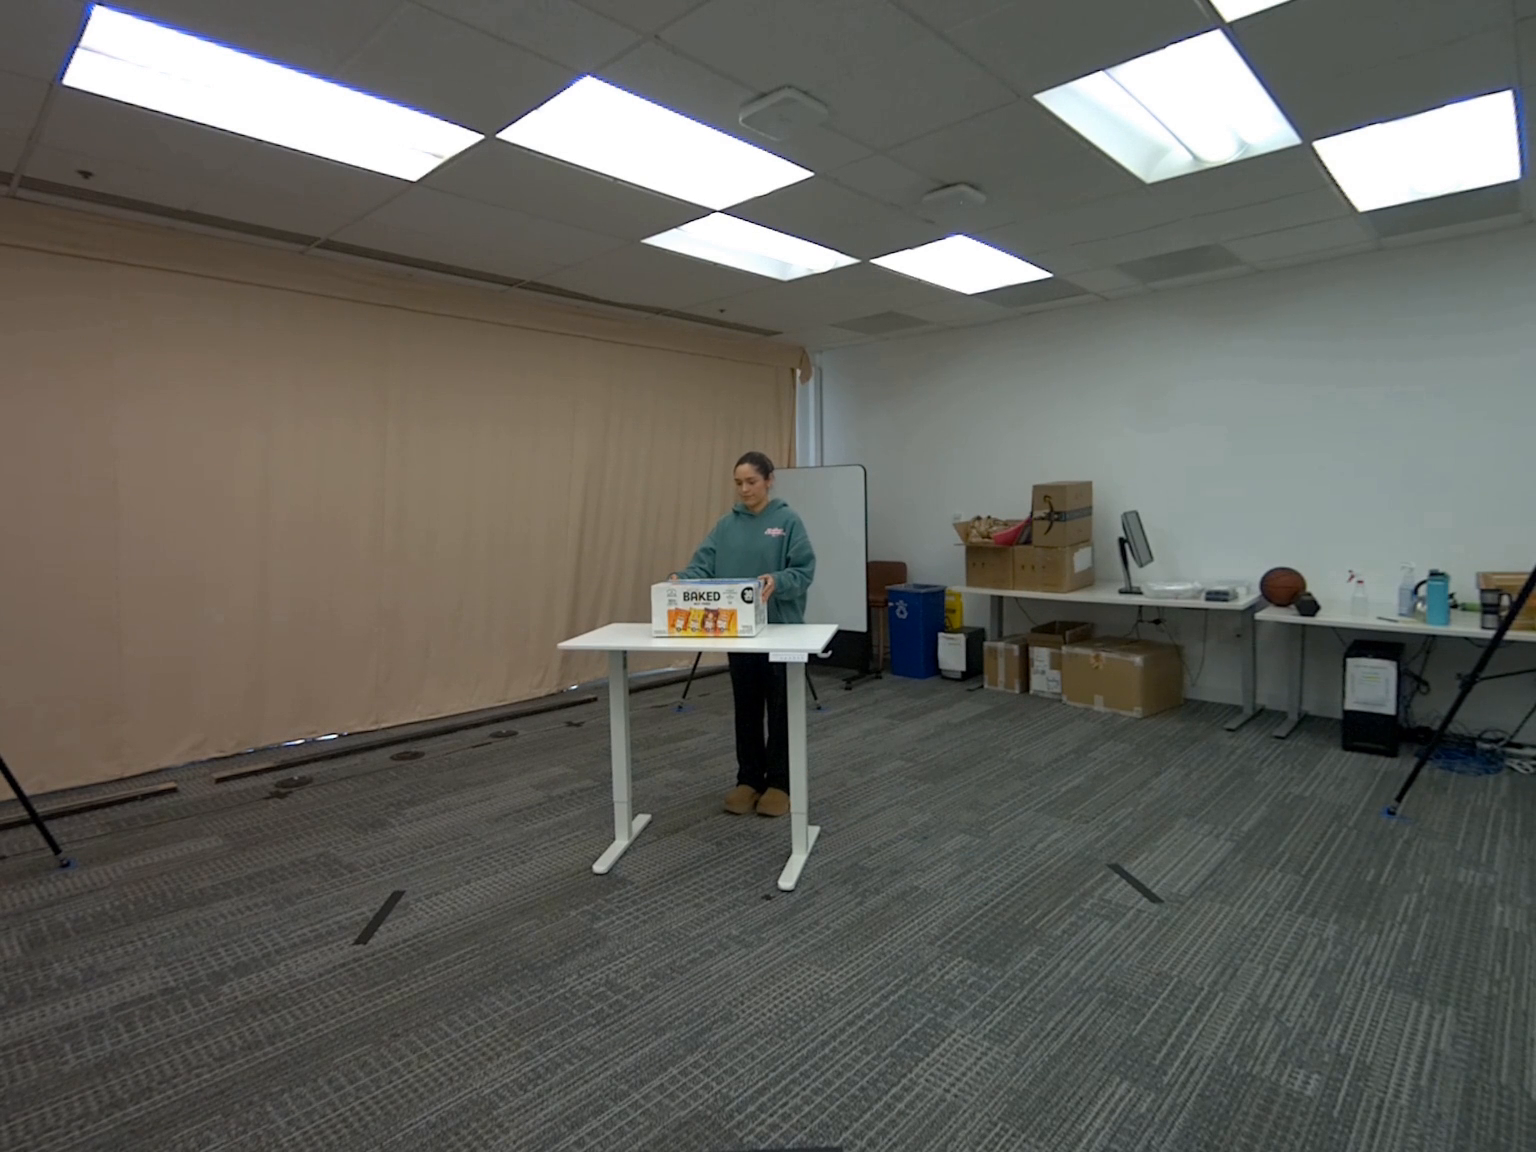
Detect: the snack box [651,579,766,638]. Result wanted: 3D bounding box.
[{"bbox_3d":[-0.224,0.123,3.417,0.410,0.205,0.337,-1,4,11],"label":"snack box"}]
